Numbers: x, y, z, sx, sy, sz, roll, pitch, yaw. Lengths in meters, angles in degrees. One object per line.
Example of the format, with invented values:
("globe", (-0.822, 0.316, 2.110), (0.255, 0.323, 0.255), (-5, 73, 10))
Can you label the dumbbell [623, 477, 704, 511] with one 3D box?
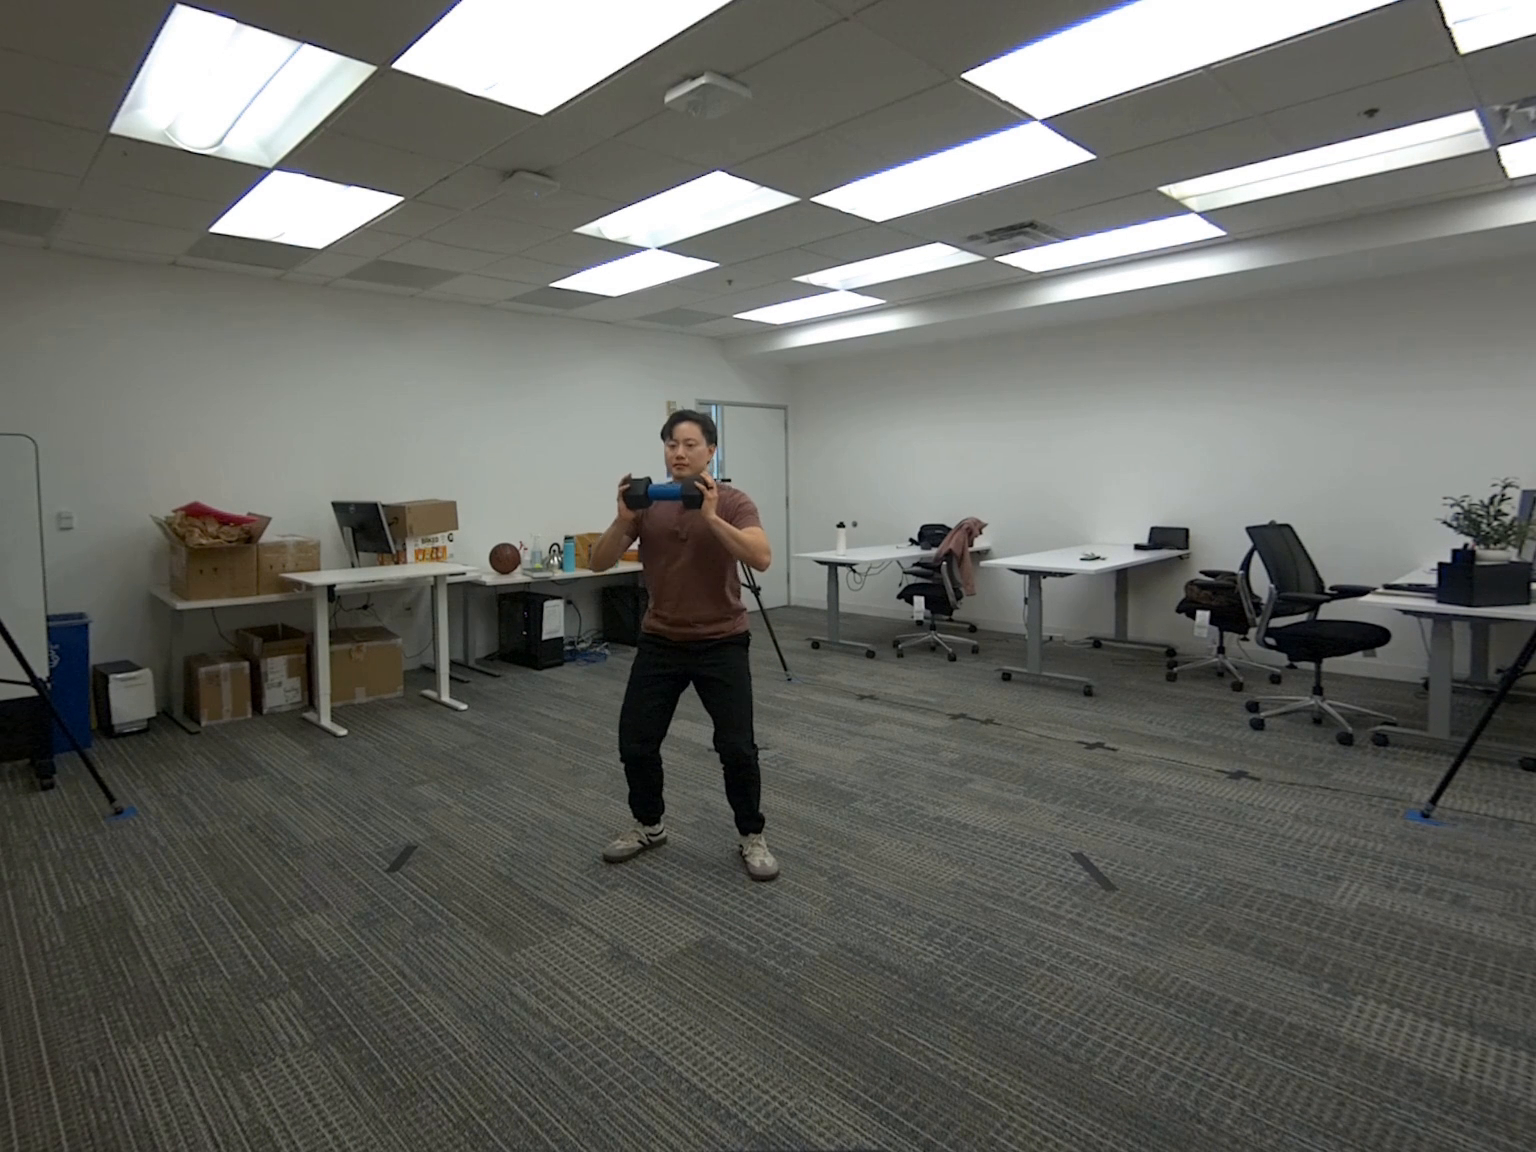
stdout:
("dumbbell", (-0.355, -0.260, 2.905), (0.298, 0.107, 0.123), (1, 13, 14))
